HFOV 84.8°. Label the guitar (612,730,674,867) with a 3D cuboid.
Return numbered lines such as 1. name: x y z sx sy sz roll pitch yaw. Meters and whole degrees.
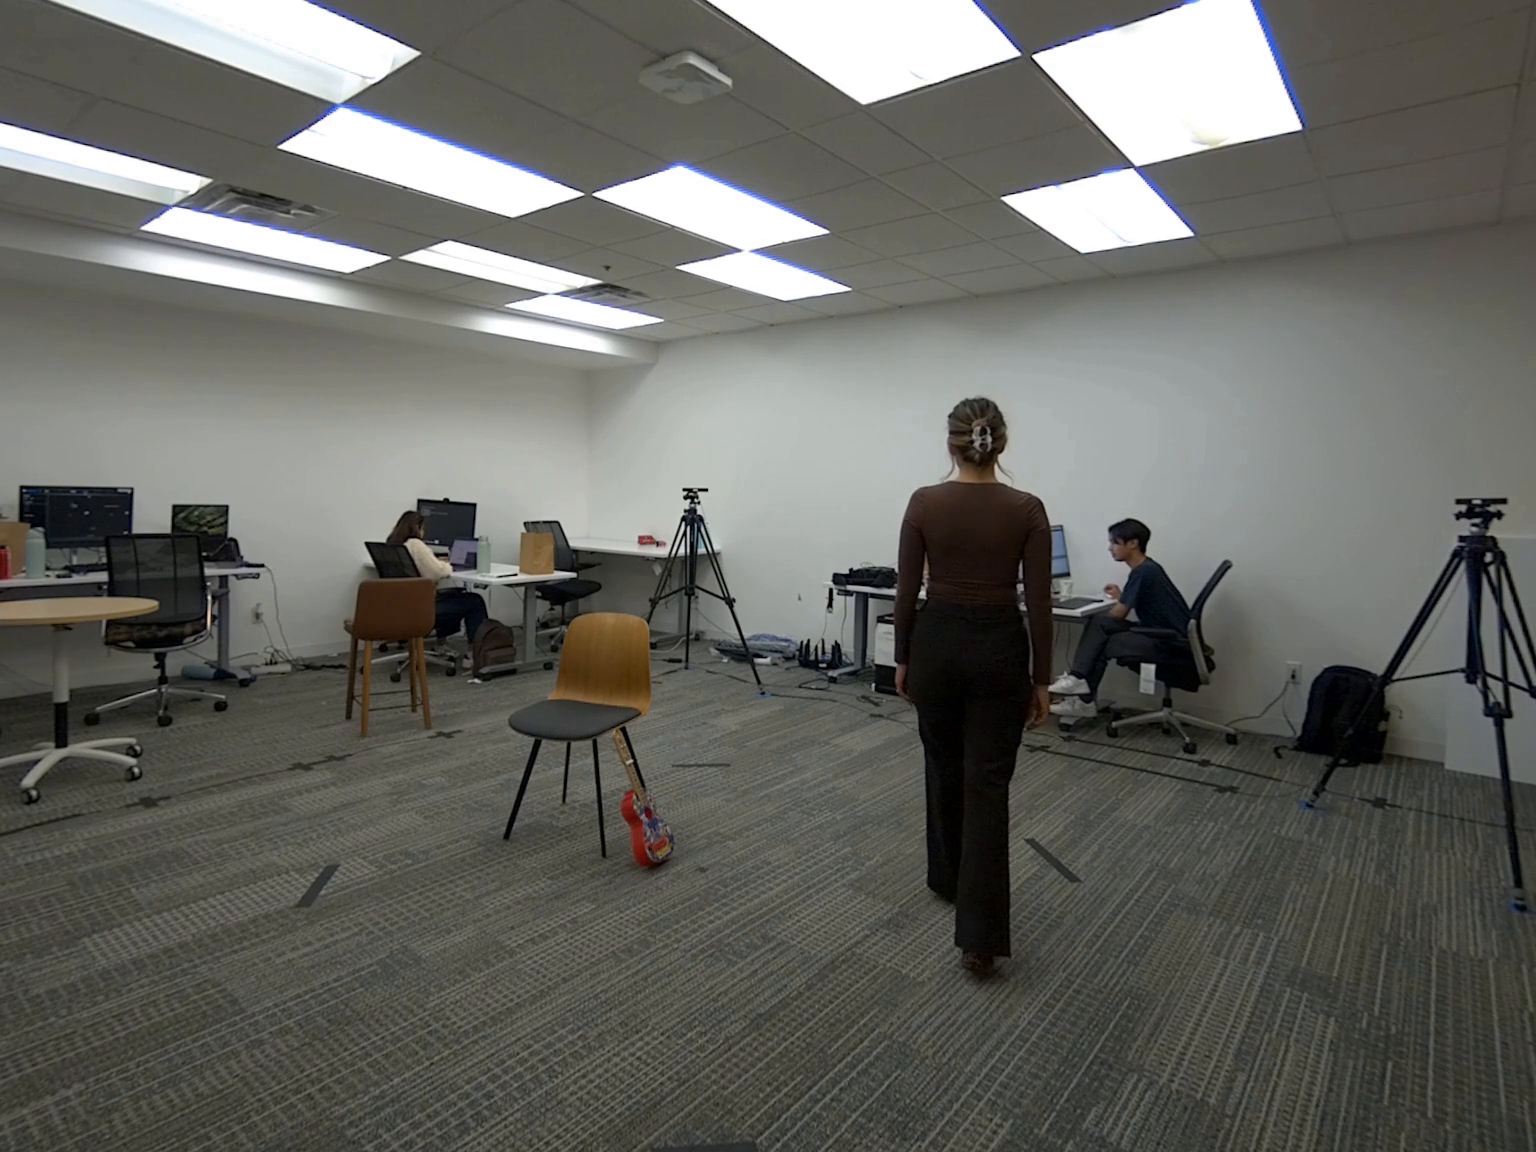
1. guitar: -0.490 0.827 3.202 0.071 0.507 0.187 -27 -16 23
